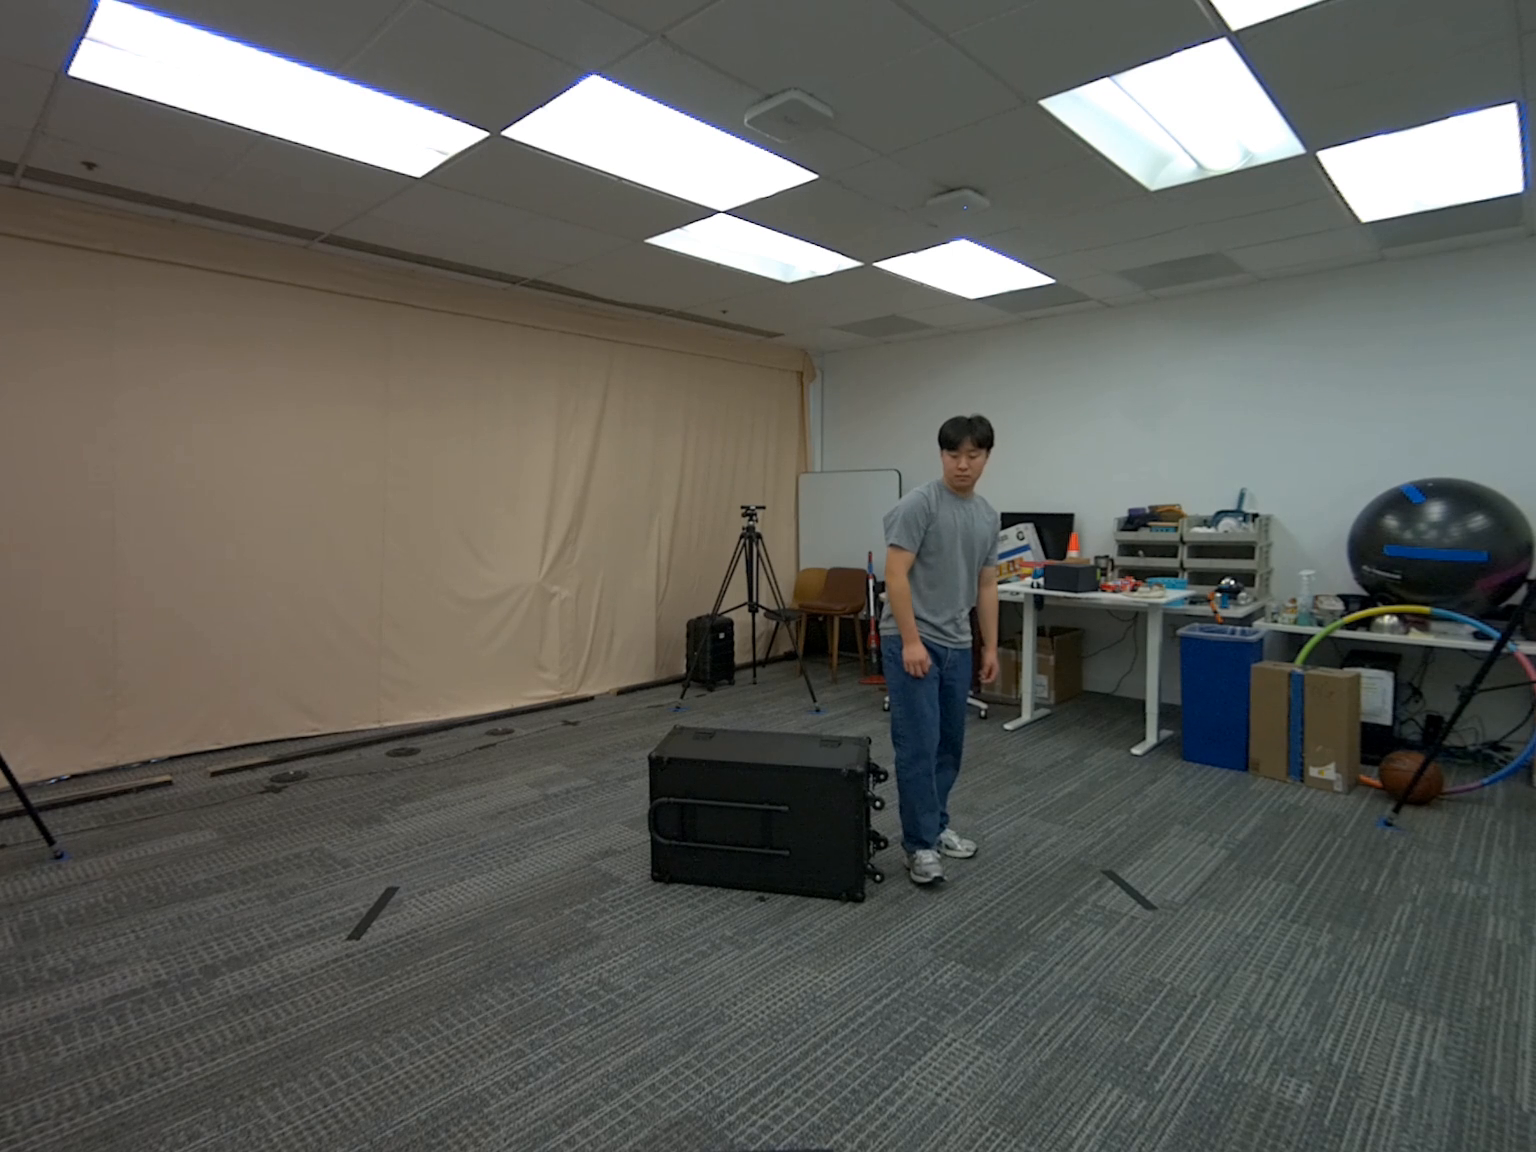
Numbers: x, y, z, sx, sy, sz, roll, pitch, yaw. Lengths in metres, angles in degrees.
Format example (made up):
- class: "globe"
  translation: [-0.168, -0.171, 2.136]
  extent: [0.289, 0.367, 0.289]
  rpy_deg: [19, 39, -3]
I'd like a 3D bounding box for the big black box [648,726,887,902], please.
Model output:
- class: "big black box"
  translation: [0.010, 0.867, 3.158]
  extent: [0.874, 0.519, 0.392]
  rpy_deg: [1, 7, 13]
